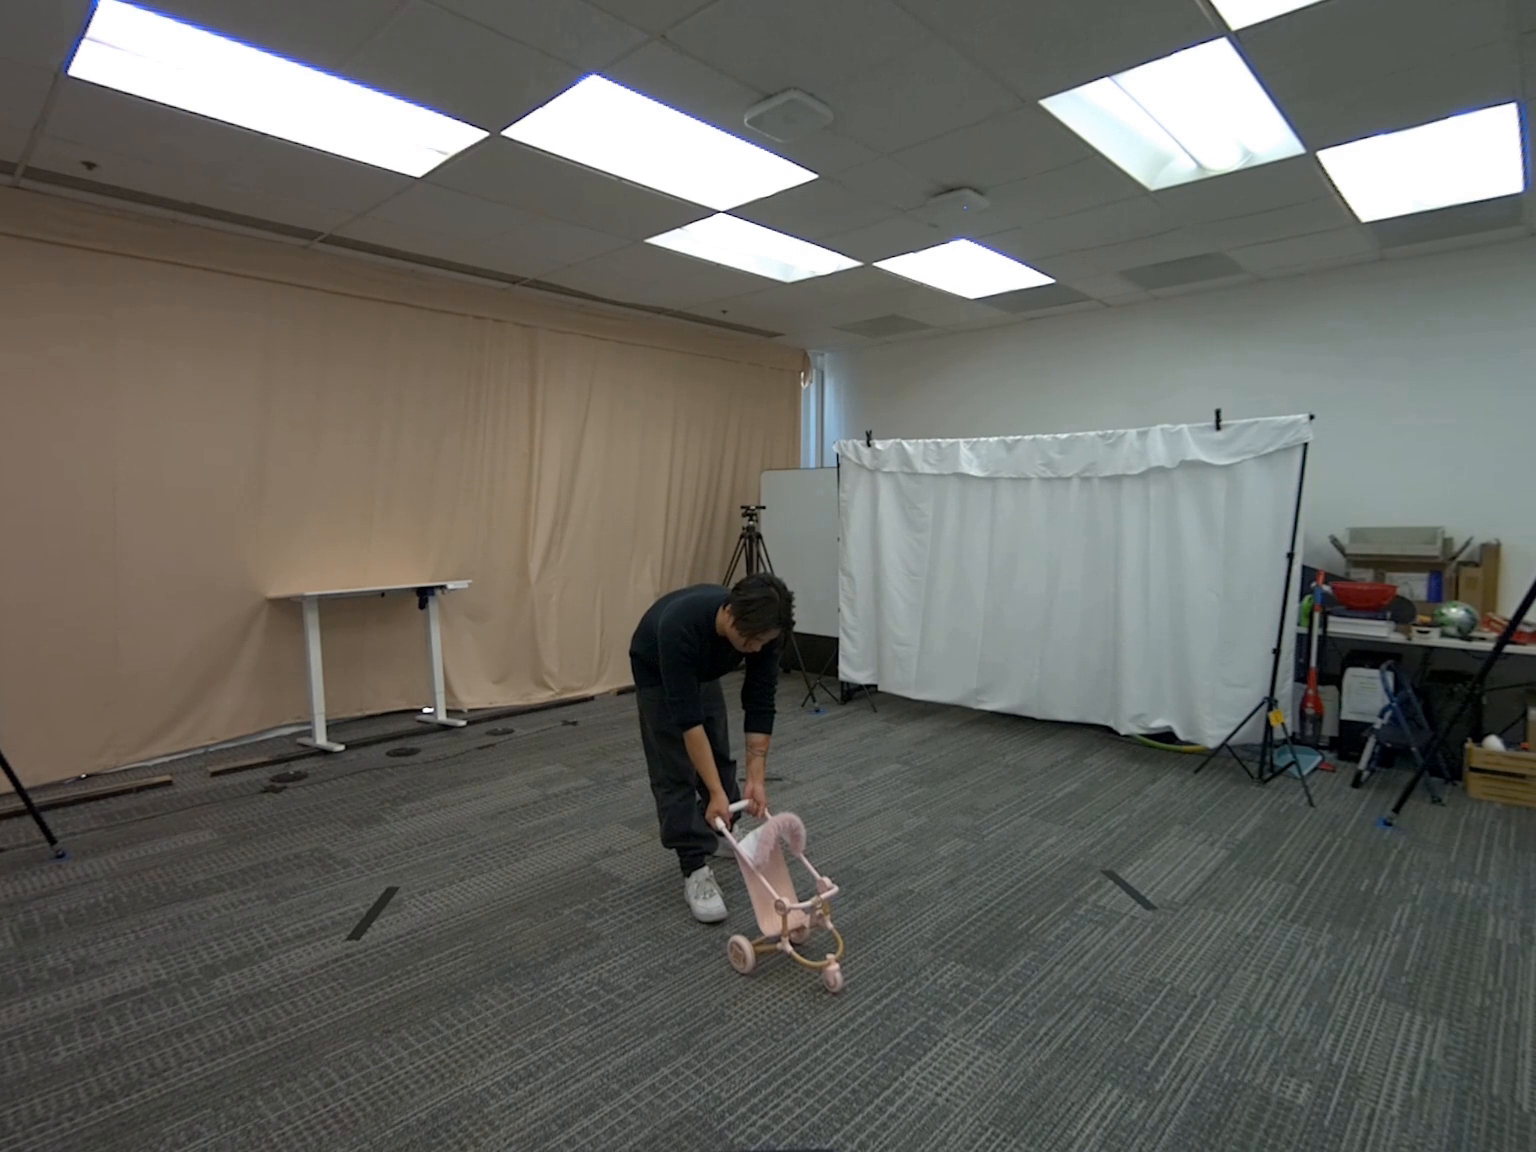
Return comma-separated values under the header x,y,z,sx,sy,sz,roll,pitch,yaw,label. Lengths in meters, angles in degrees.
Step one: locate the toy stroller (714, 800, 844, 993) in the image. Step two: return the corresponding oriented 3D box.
x,y,z,sx,sy,sz,roll,pitch,yaw,label
0.054,0.955,2.539,0.273,0.538,0.349,-3,-10,-41,toy stroller
